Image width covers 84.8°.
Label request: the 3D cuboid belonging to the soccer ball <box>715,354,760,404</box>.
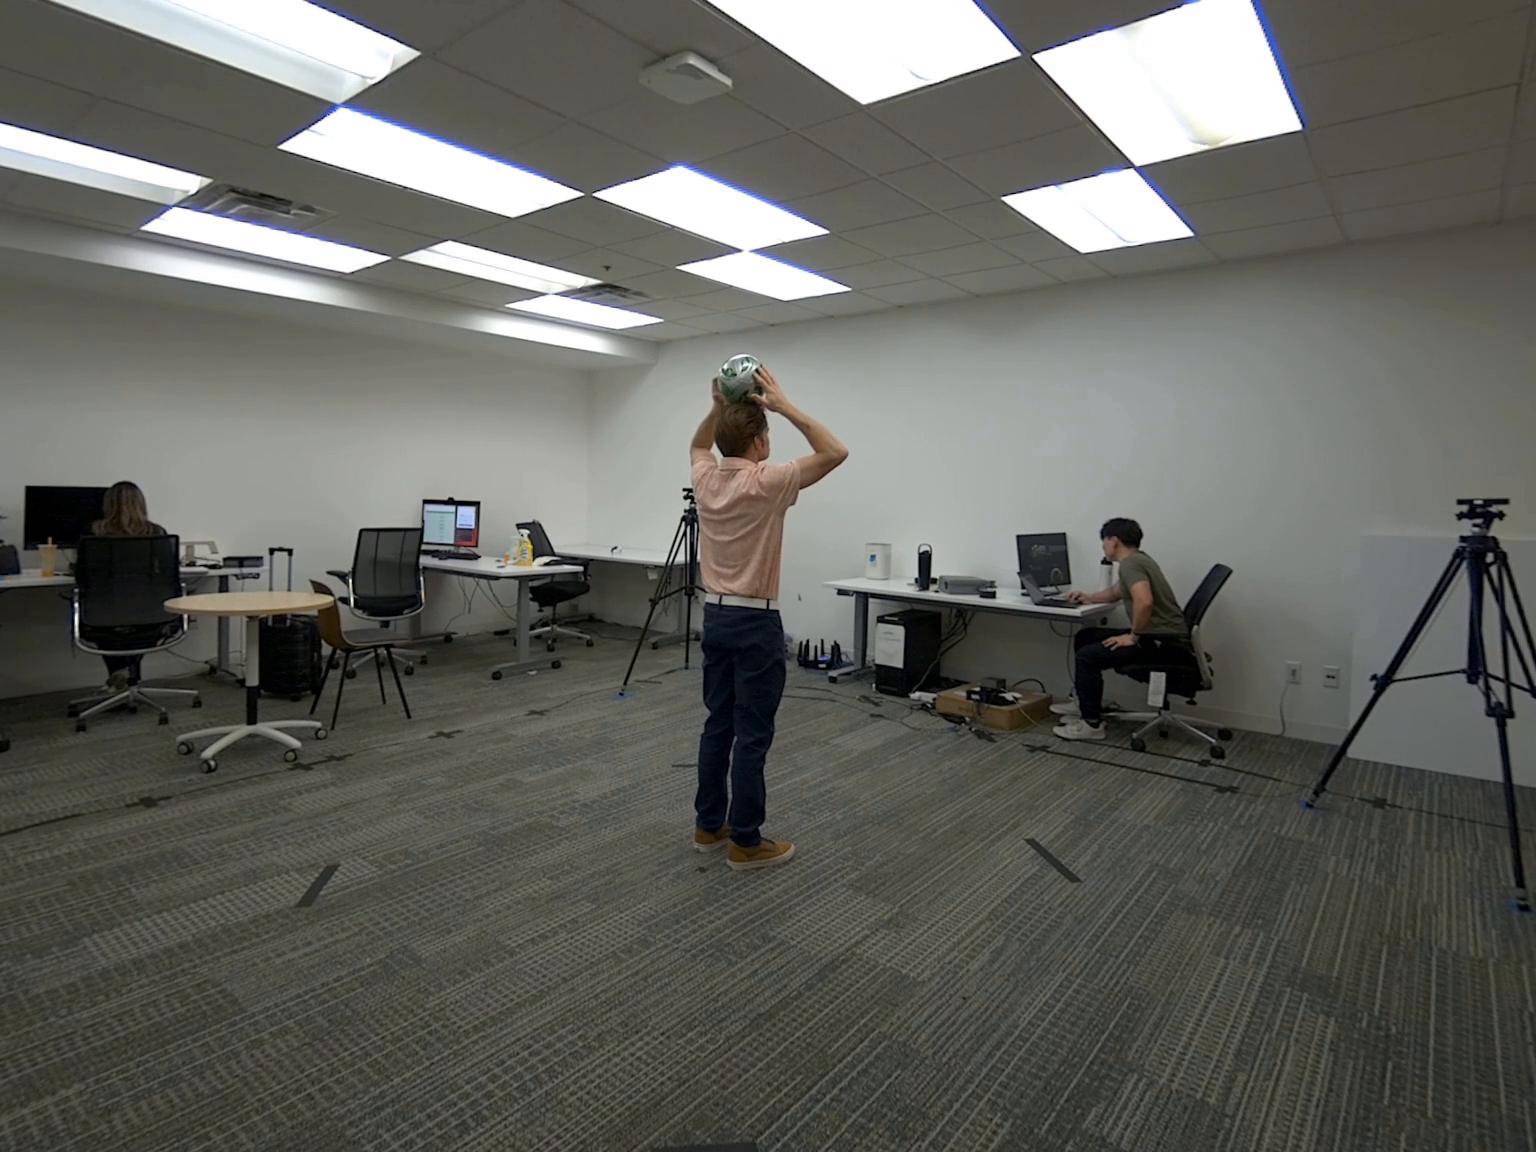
[{"bbox_3d":[-0.101,-0.727,3.161,0.187,0.187,0.188,1,4,-2],"label":"soccer ball"}]
